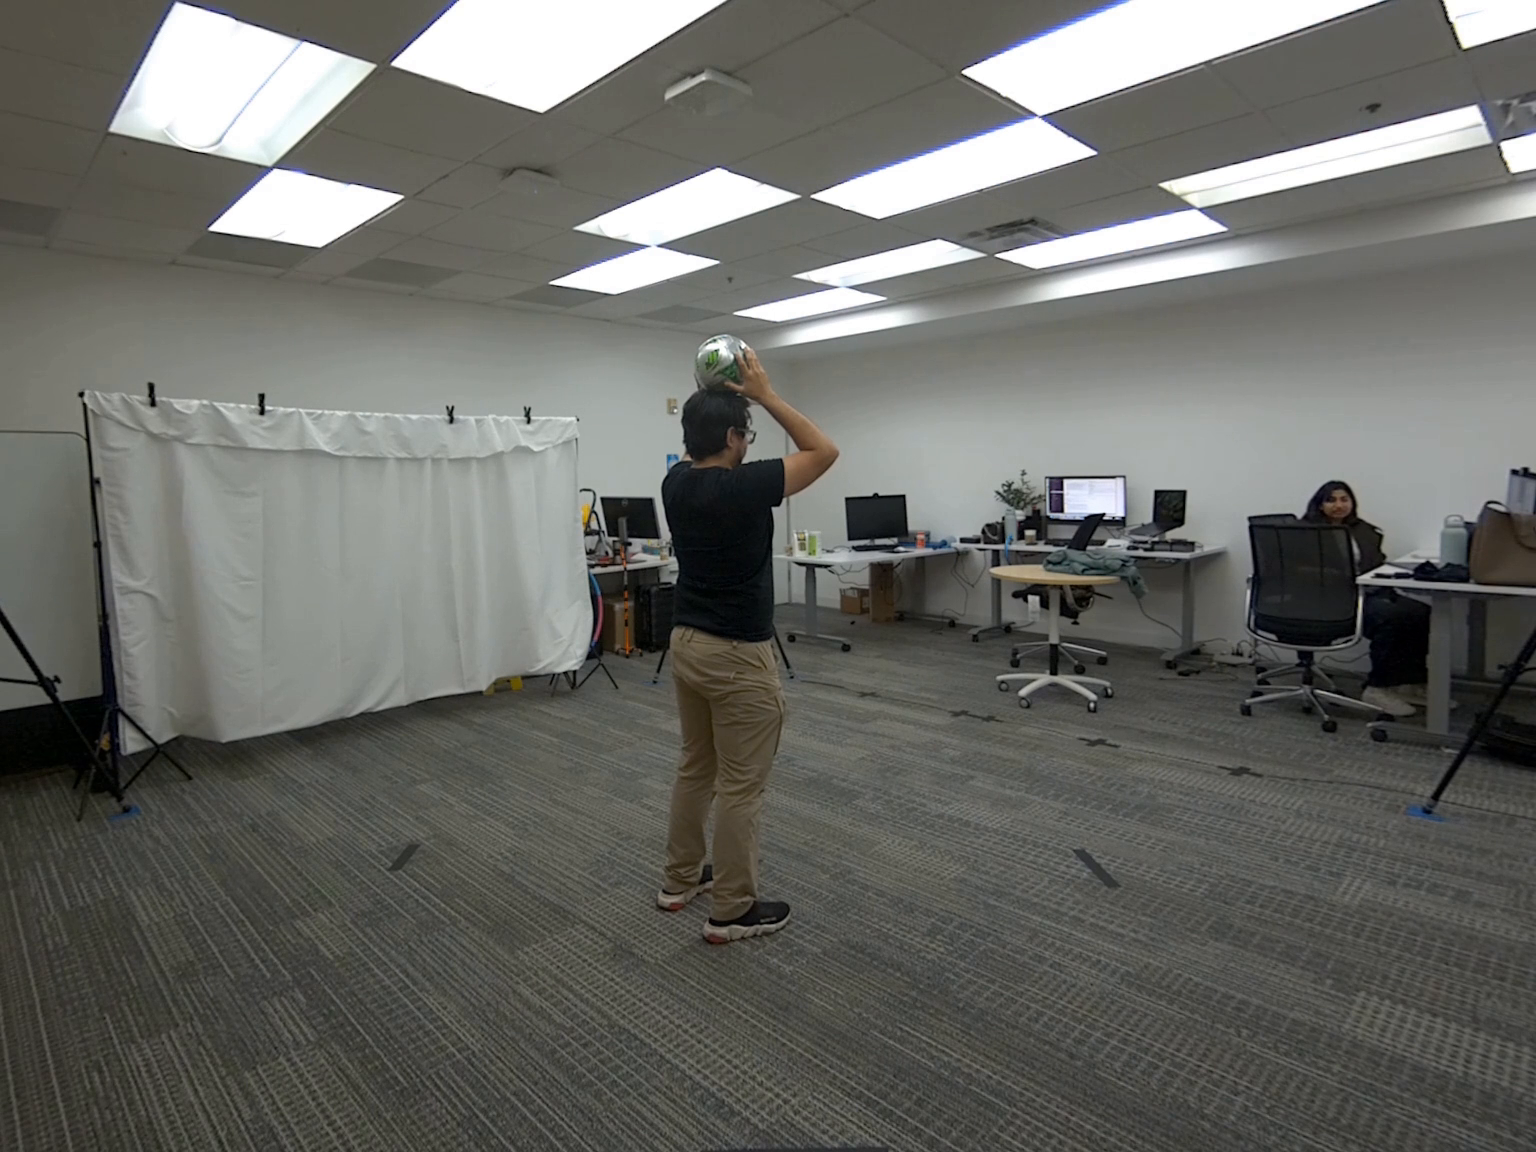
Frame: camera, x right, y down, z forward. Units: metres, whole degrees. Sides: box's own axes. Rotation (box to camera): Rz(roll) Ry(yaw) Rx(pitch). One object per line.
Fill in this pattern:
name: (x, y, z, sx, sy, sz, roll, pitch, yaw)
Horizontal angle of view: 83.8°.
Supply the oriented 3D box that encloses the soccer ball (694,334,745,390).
soccer ball: (-0.130, -0.648, 2.640, 0.187, 0.187, 0.188, -1, 5, -2)
